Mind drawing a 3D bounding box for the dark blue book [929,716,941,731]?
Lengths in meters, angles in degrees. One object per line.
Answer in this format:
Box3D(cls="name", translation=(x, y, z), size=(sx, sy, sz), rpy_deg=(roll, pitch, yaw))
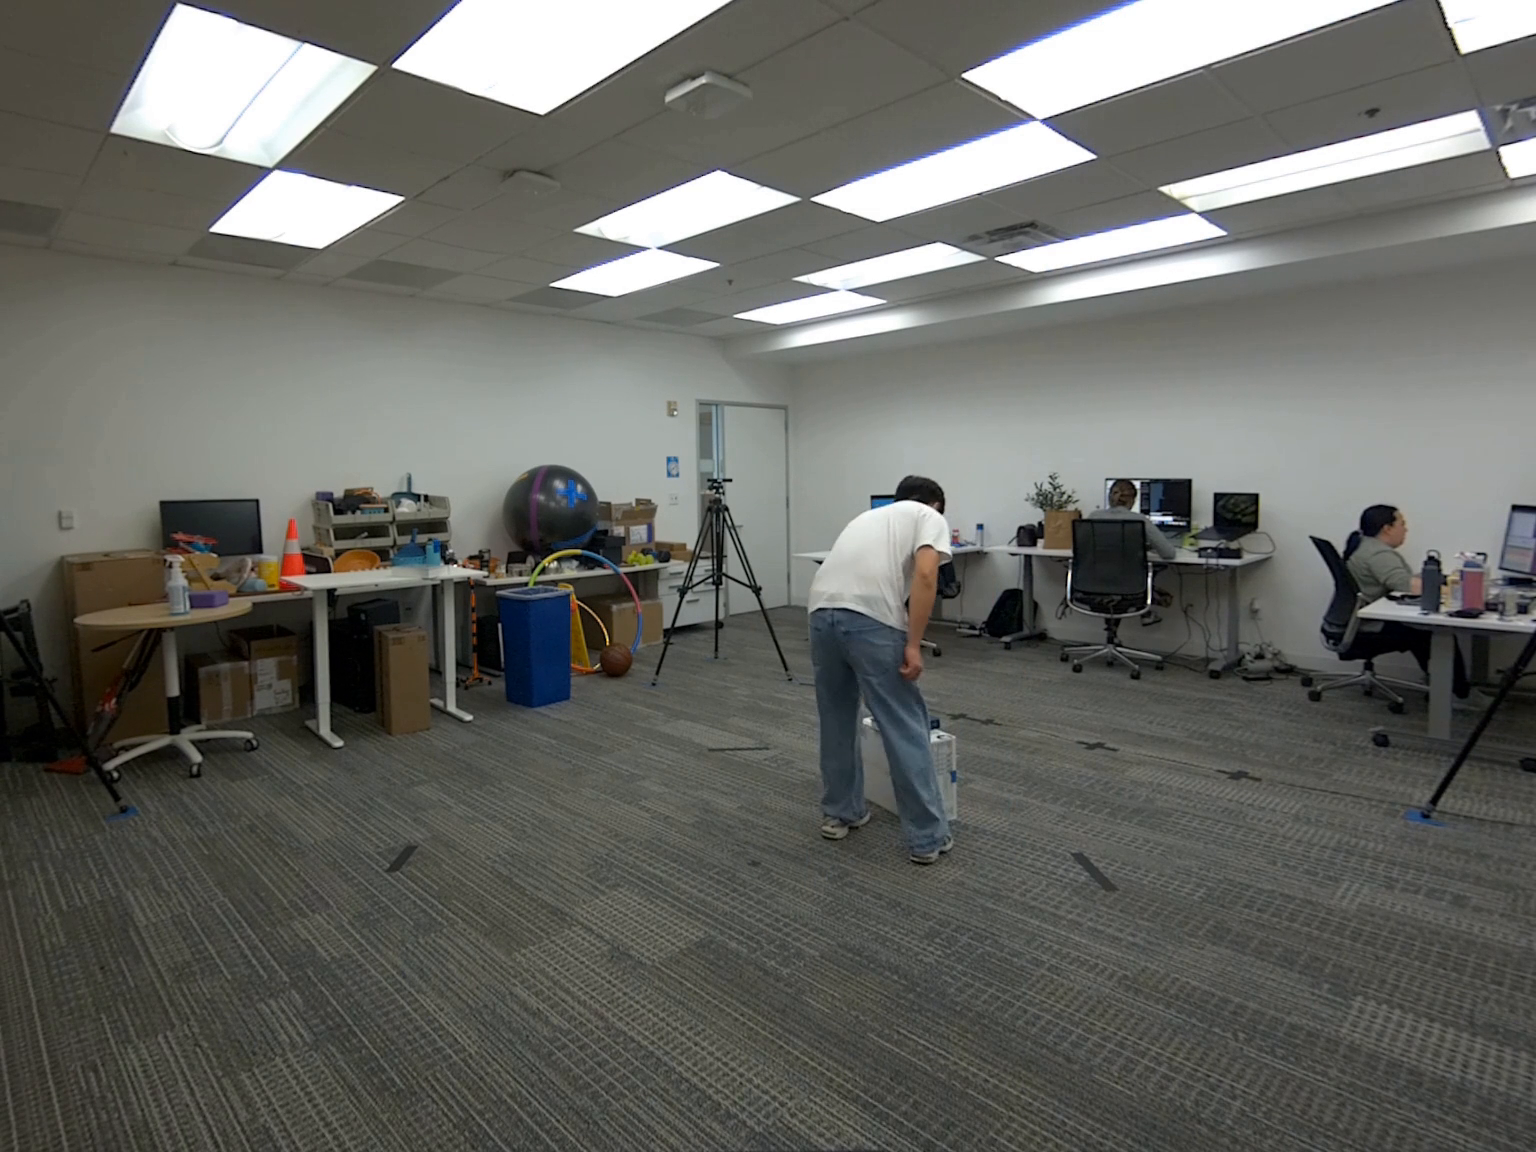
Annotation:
Box3D(cls="dark blue book", translation=(0.582, 0.621, 3.602), size=(0.240, 0.045, 0.168), rpy_deg=(-6, 8, -27))
